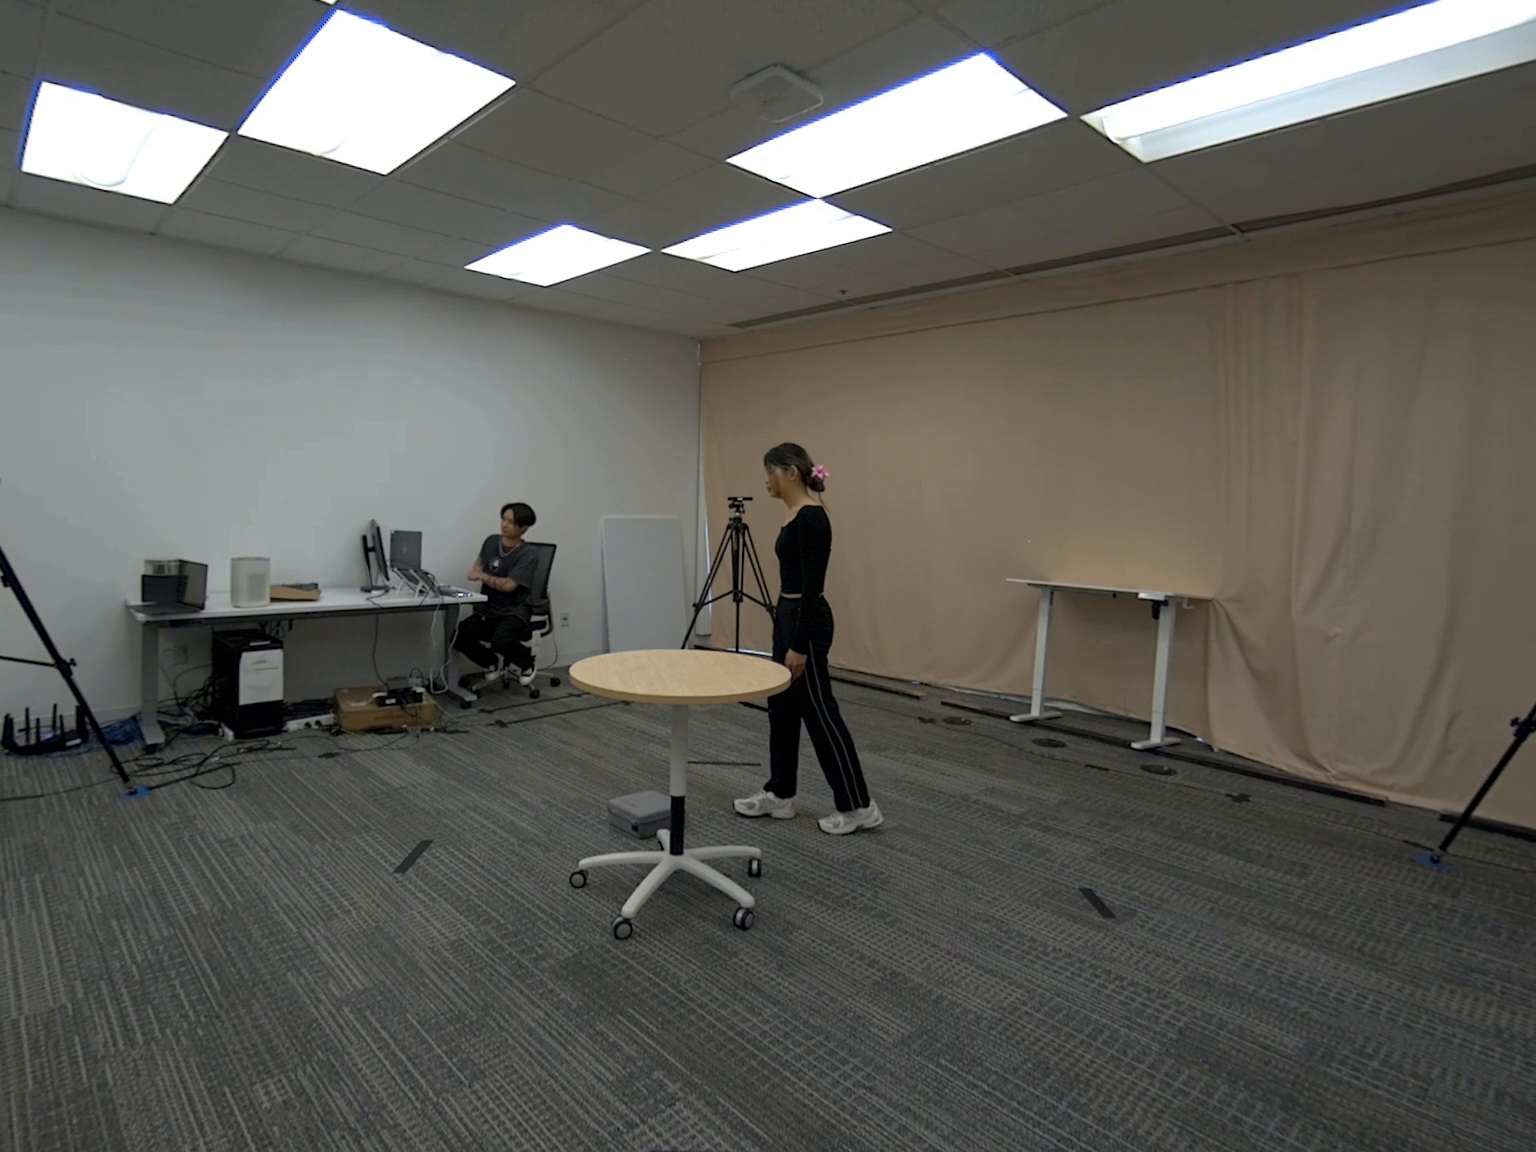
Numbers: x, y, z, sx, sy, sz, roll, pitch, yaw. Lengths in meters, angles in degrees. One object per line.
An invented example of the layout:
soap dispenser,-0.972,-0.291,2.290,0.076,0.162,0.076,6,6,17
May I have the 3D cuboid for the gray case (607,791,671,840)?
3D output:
gray case,-0.524,1.000,3.571,0.254,0.104,0.263,-1,5,-43
